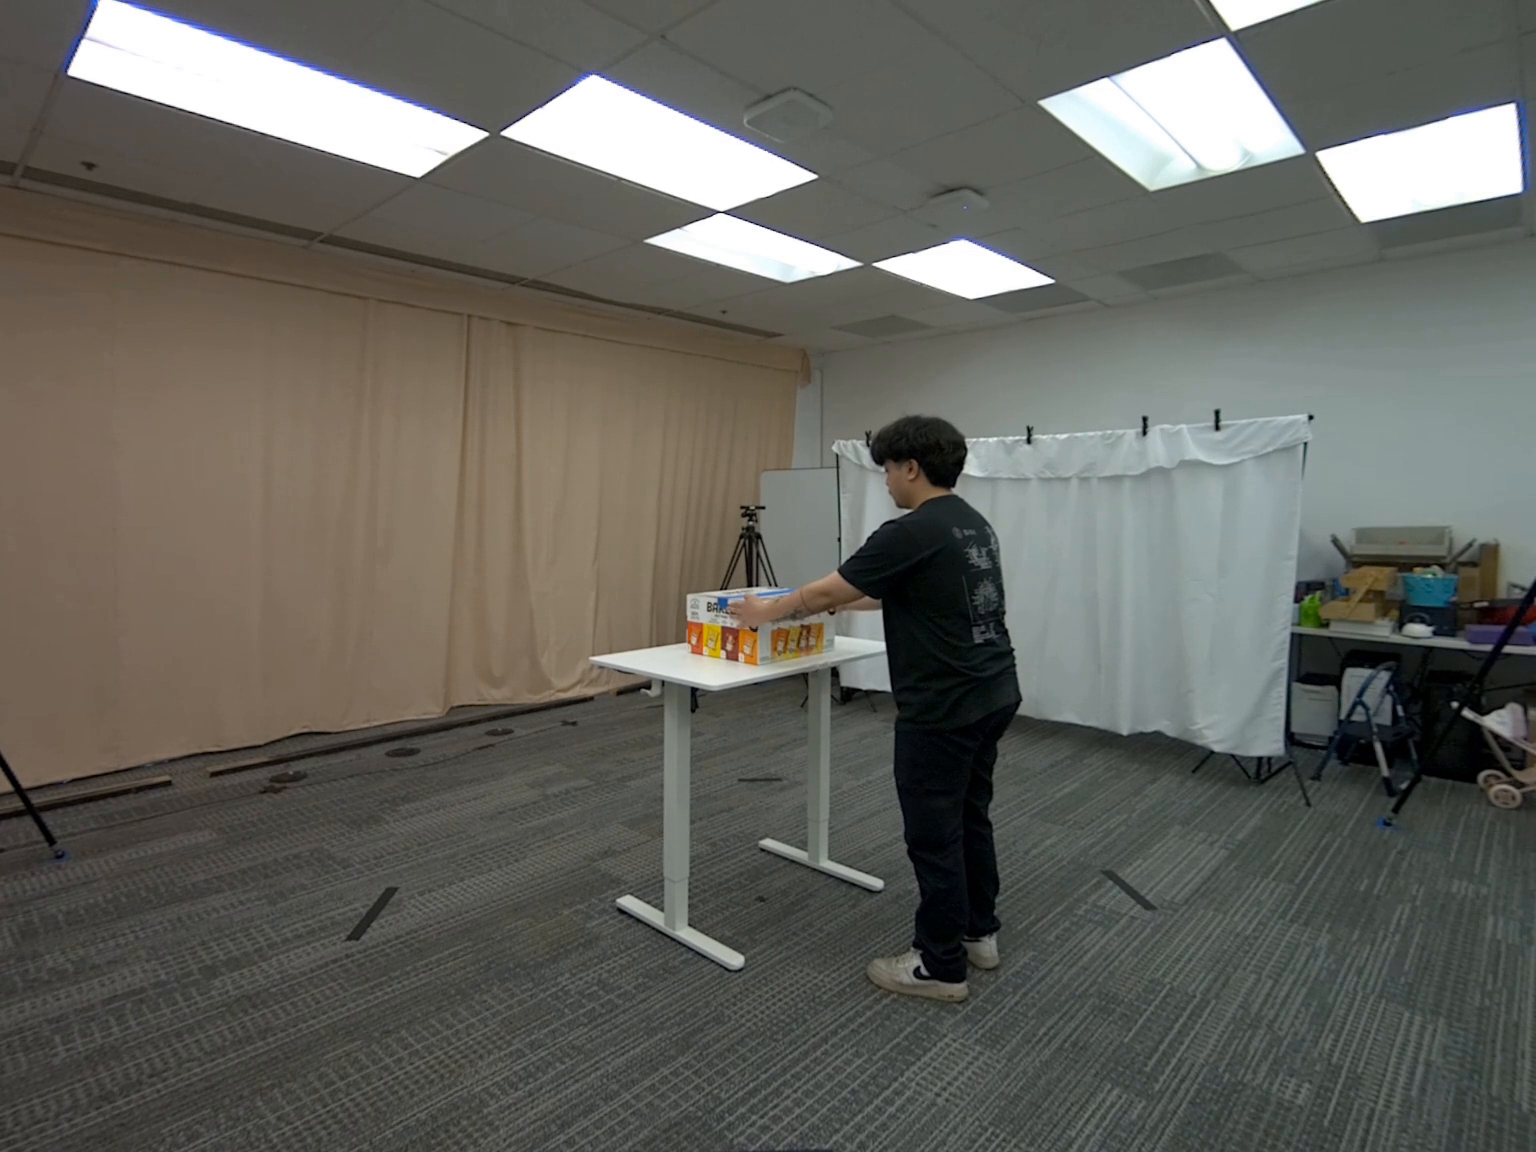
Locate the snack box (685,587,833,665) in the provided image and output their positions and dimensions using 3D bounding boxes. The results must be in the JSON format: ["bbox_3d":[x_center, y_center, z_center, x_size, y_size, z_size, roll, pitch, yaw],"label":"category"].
[{"bbox_3d":[-0.020,0.164,2.937,0.352,0.205,0.393,5,6,43],"label":"snack box"}]
